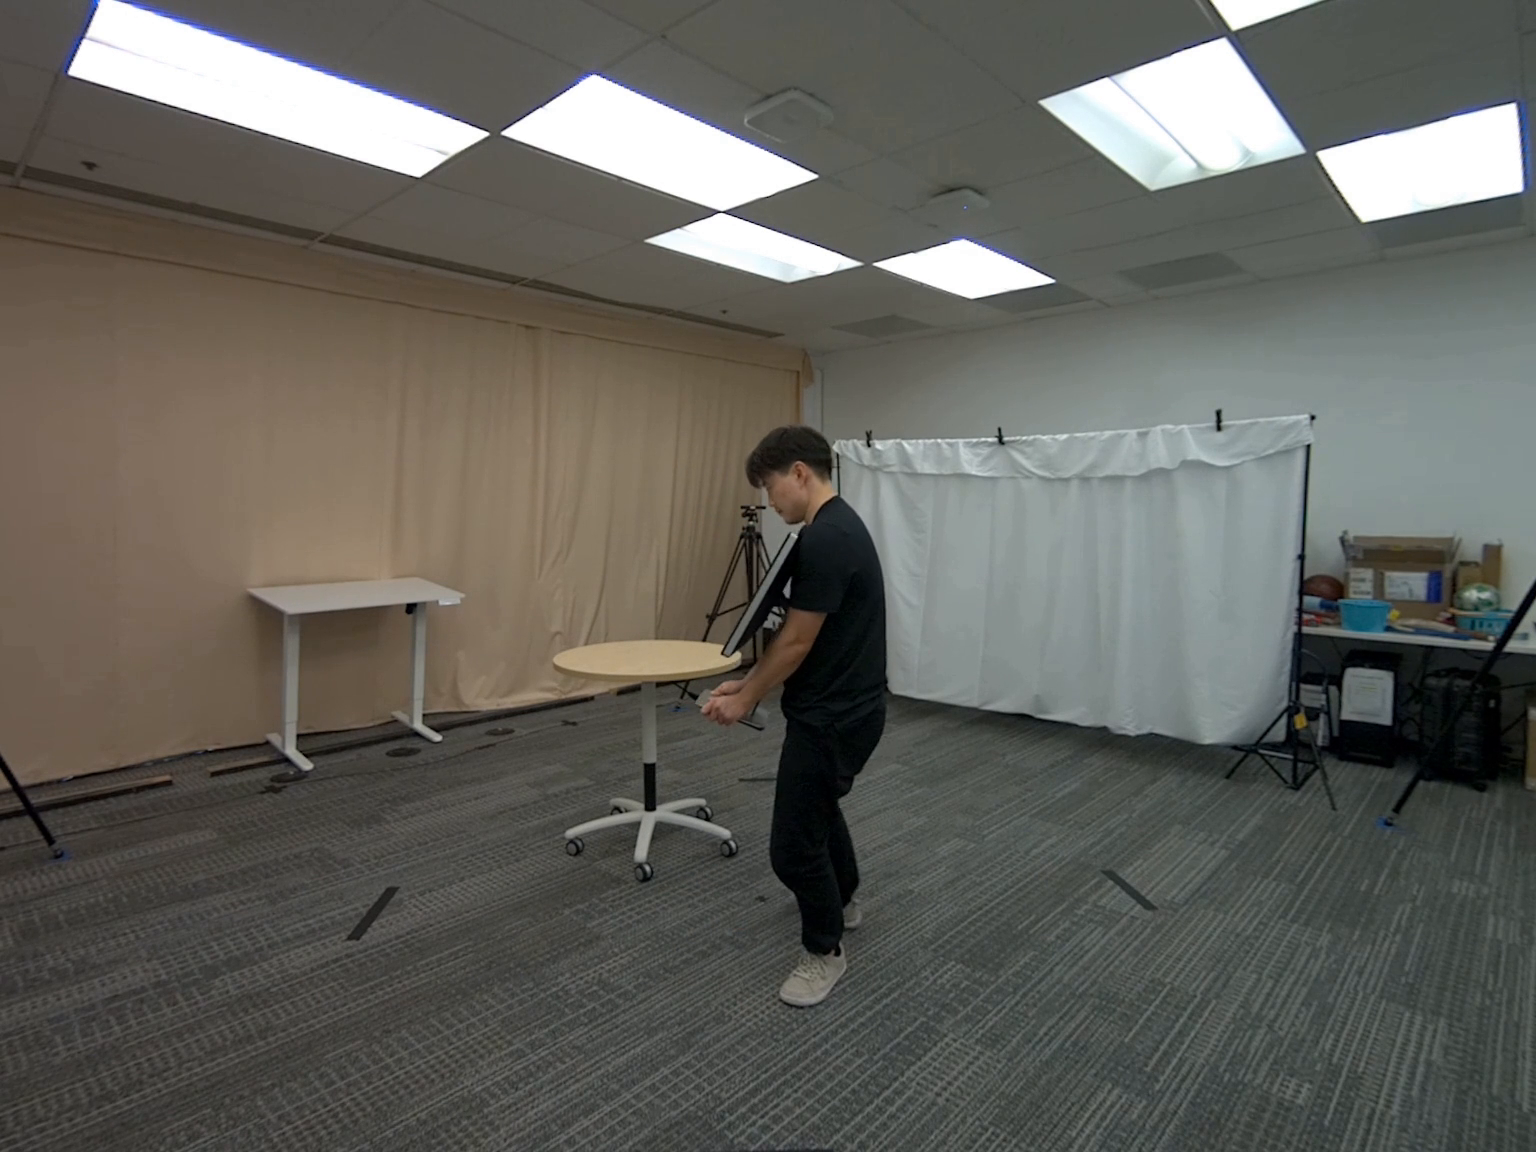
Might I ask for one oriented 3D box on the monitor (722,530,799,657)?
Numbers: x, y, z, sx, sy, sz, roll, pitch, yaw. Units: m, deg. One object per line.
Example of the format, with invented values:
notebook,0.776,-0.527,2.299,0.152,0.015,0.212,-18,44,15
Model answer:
monitor,-0.014,0.148,2.441,0.187,0.522,0.538,18,1,0
